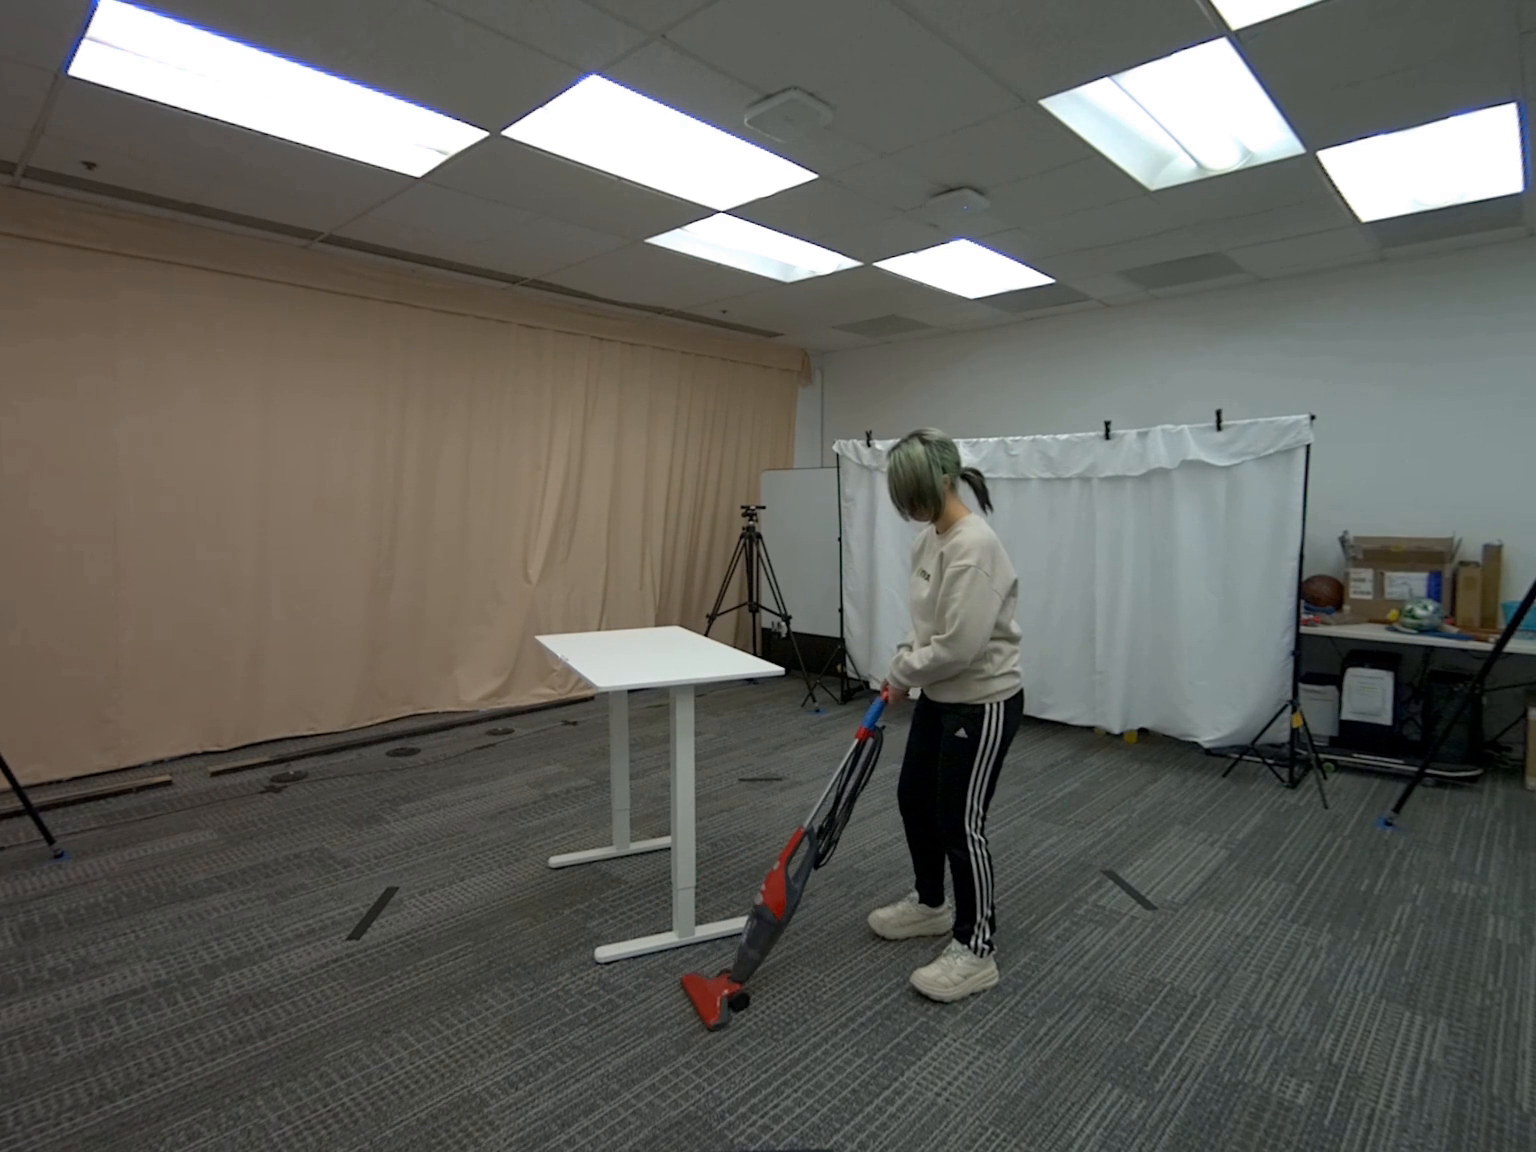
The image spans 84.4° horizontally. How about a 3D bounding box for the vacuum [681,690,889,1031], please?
[{"bbox_3d":[0.134,0.763,2.435,0.140,1.048,0.260,40,-11,-28],"label":"vacuum"}]
